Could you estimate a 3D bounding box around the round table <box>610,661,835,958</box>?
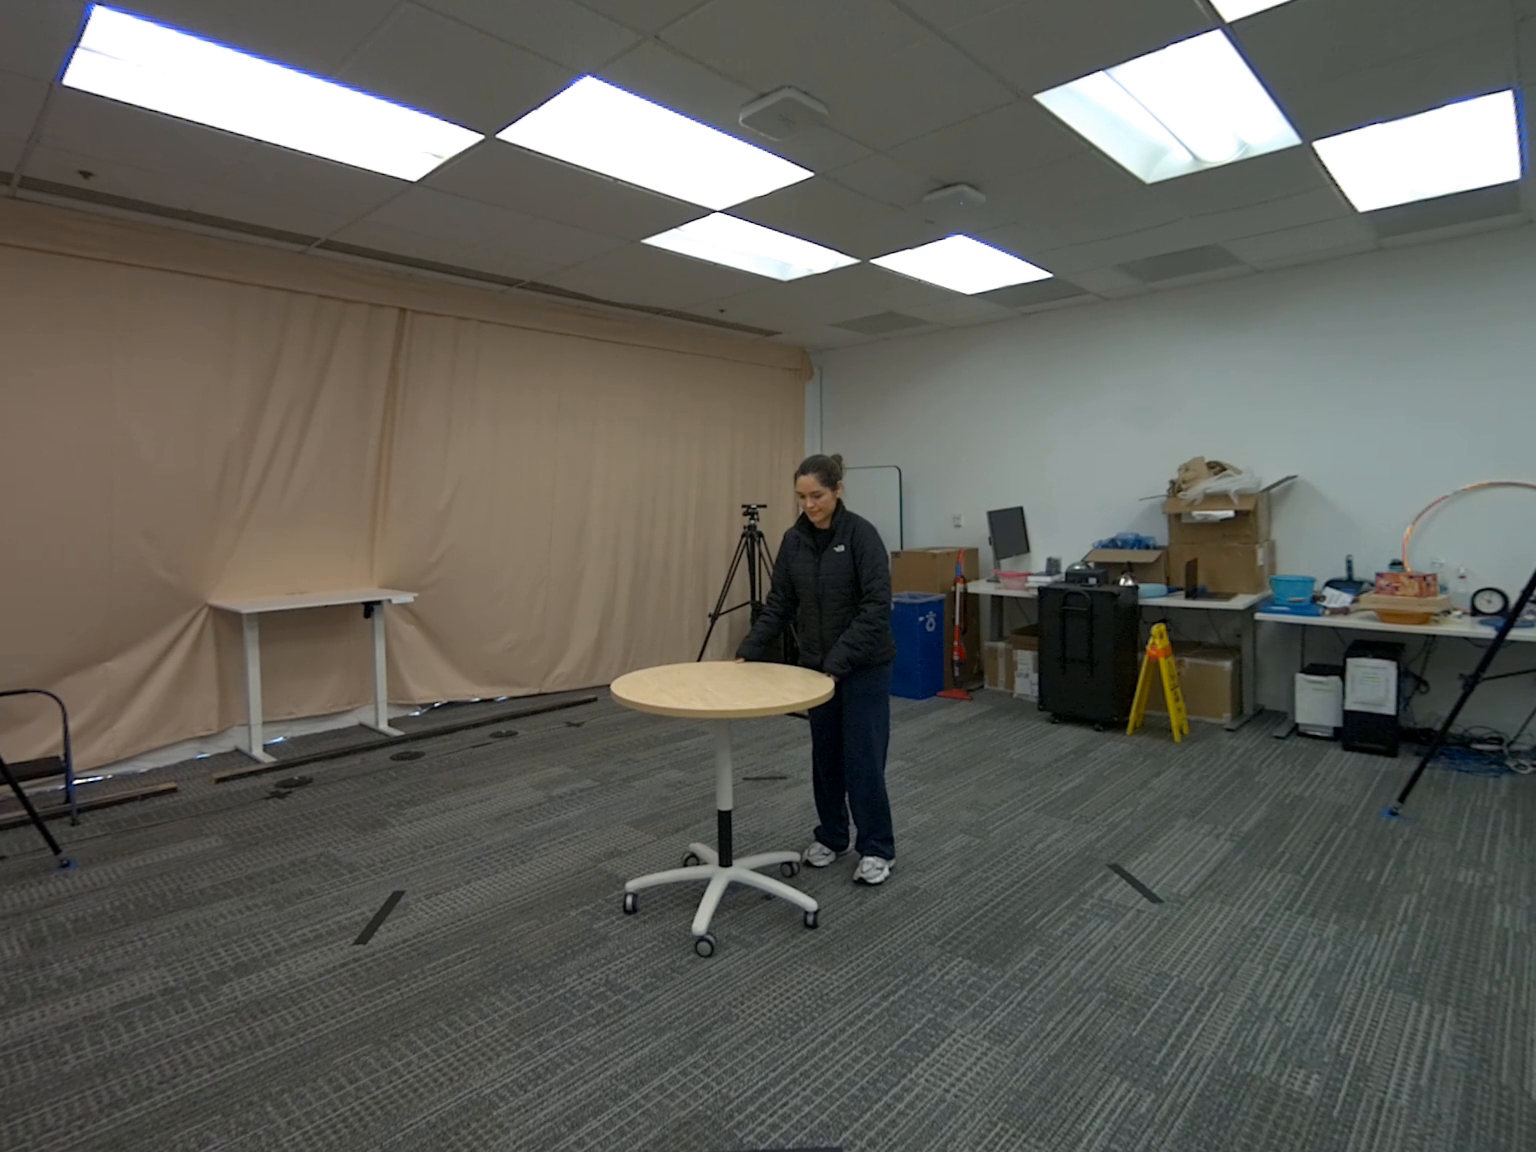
[{"bbox_3d":[-0.125,0.757,2.904,0.784,0.785,0.788,-1,4,-2],"label":"round table"}]
